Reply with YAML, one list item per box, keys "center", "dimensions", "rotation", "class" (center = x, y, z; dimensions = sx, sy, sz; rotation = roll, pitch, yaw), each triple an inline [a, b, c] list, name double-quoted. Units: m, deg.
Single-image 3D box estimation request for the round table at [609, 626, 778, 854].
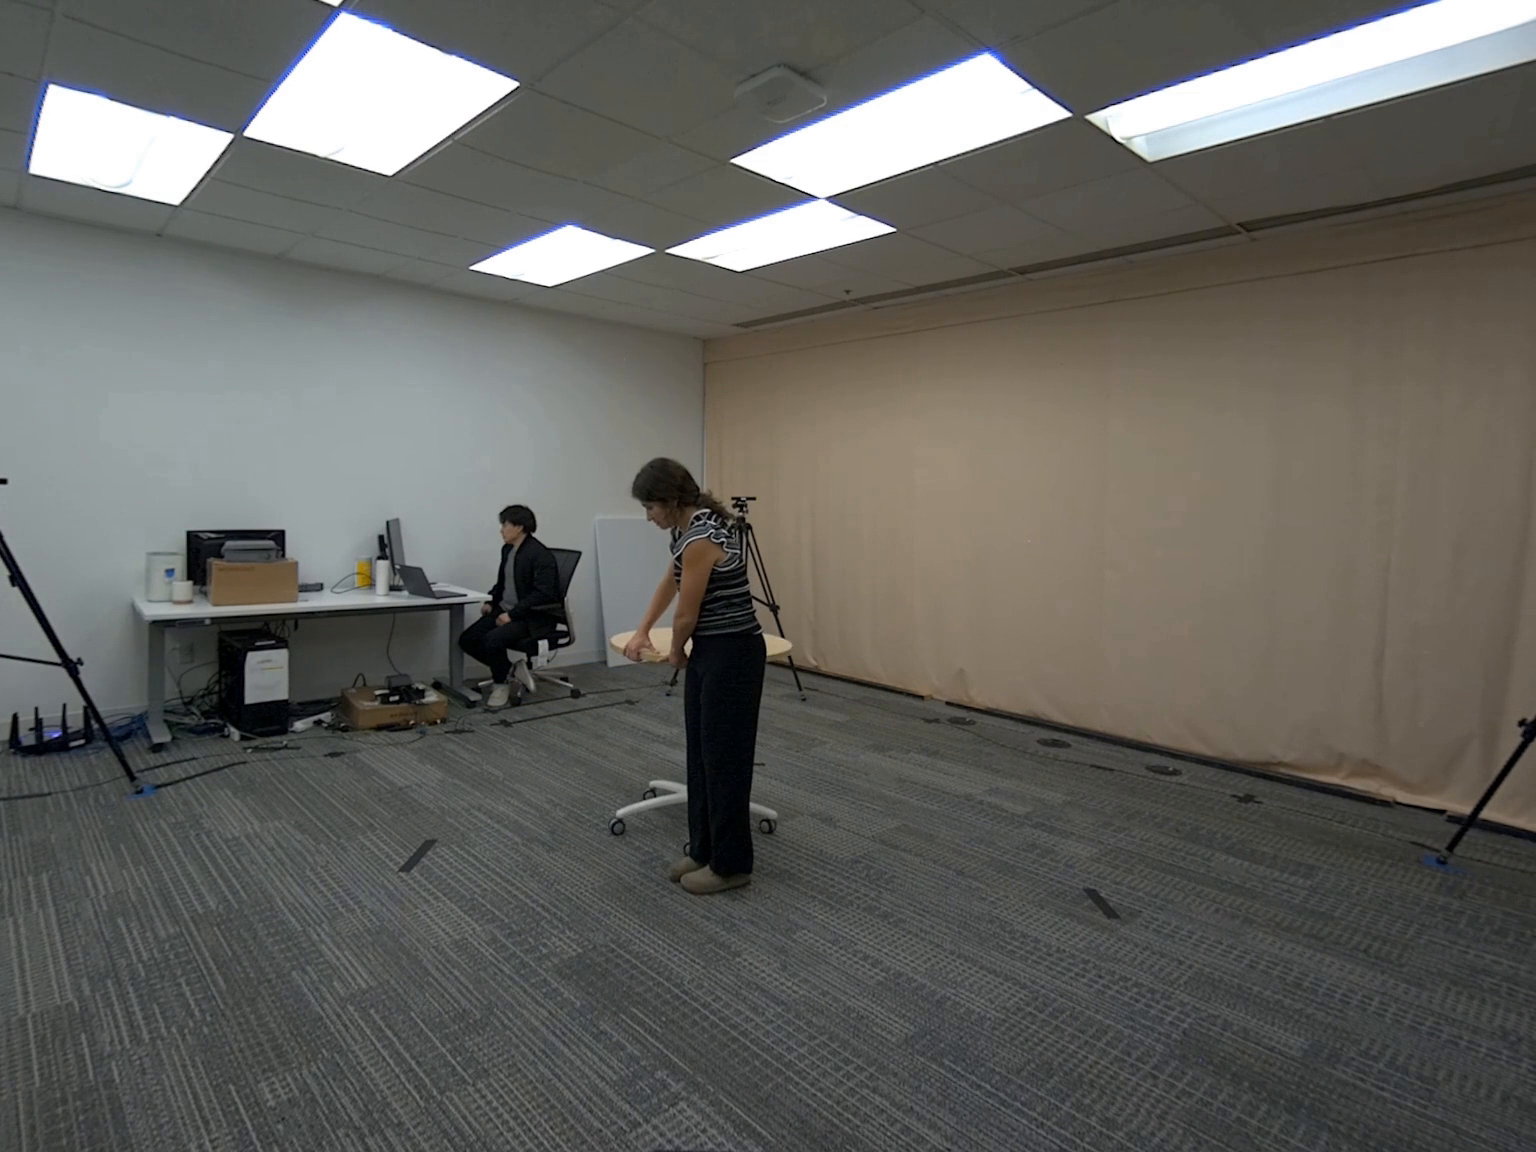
- center: [-0.306, 0.672, 3.570]
  dimensions: [0.784, 0.785, 0.787]
  rotation: [2, 3, -1]
  class: "round table"
